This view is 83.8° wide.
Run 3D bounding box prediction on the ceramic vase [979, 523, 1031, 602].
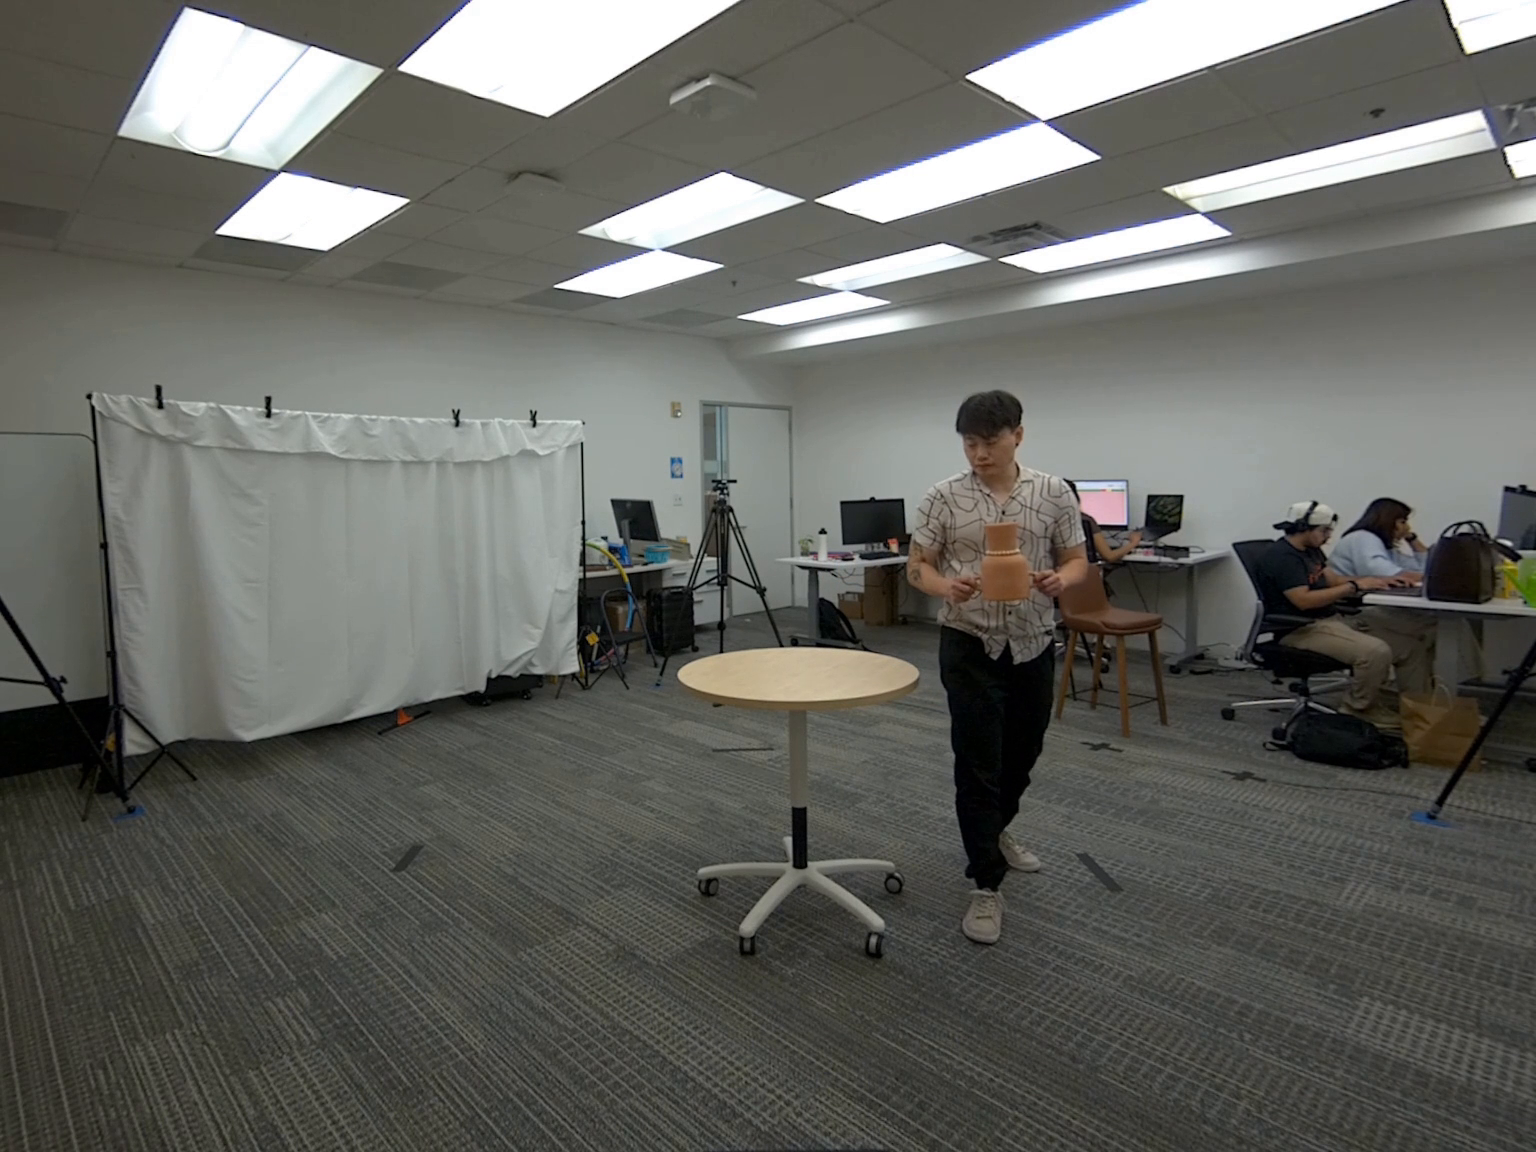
[{"bbox_3d":[0.683,-0.040,2.523,0.156,0.220,0.137,-6,1,-23],"label":"ceramic vase"}]
